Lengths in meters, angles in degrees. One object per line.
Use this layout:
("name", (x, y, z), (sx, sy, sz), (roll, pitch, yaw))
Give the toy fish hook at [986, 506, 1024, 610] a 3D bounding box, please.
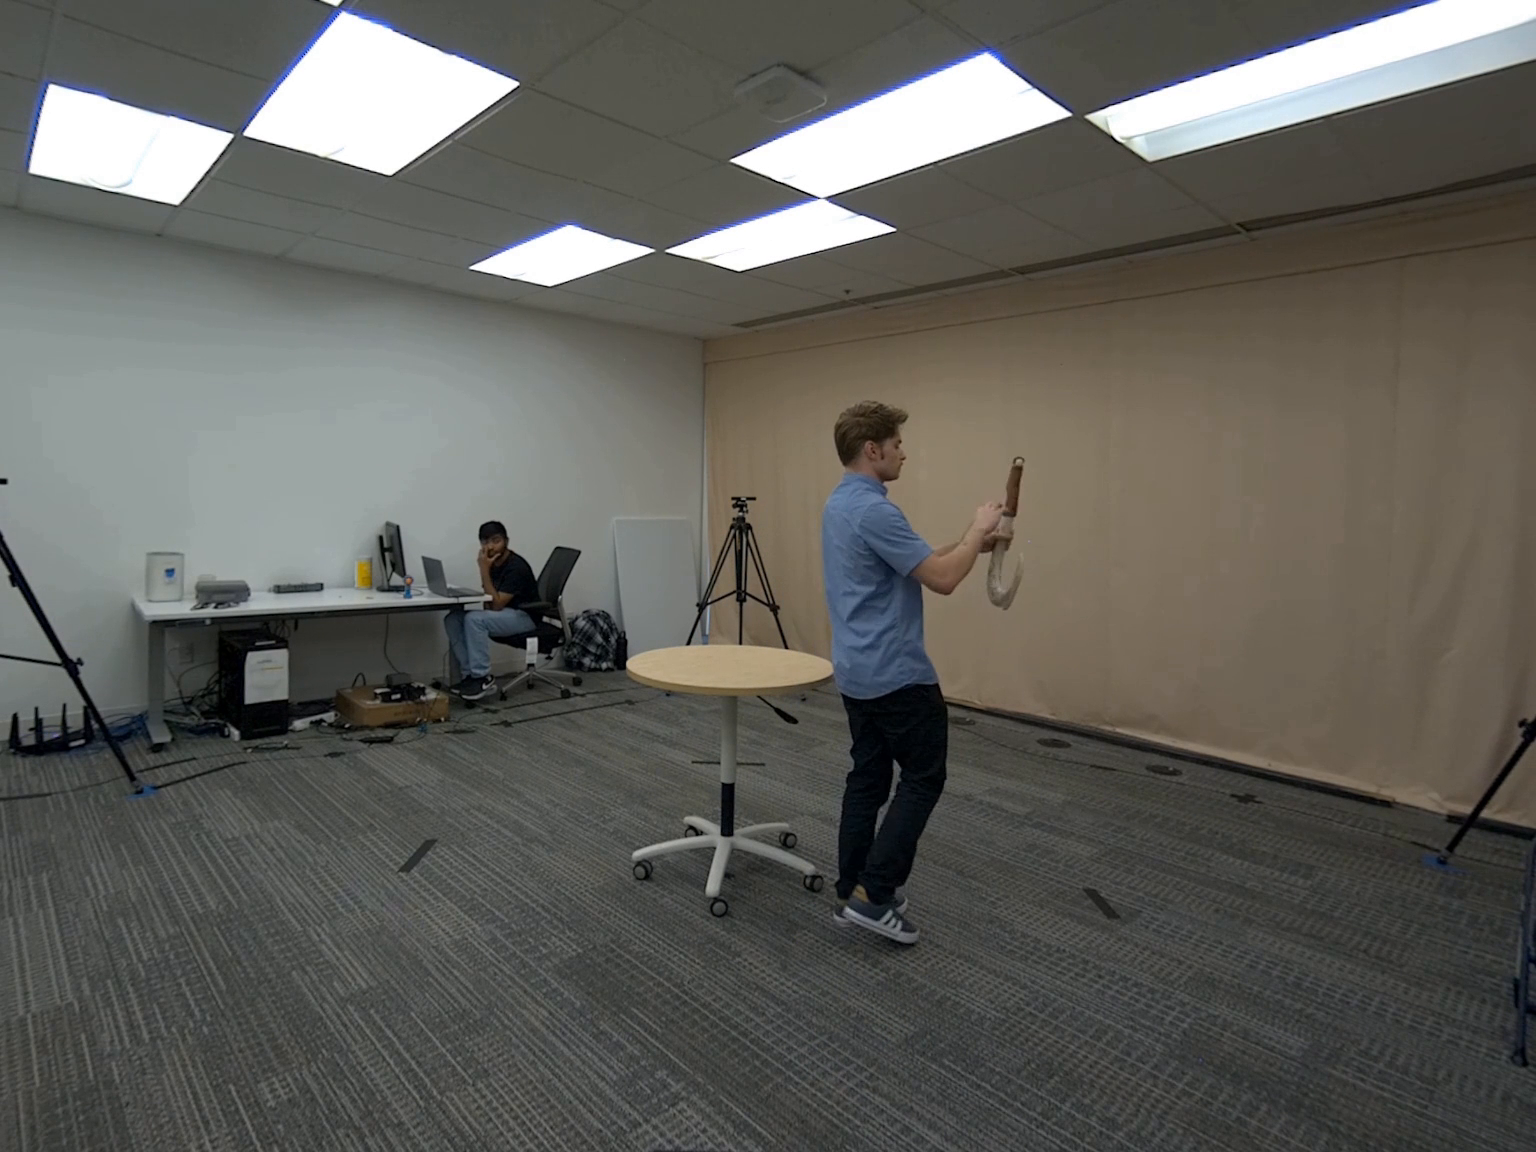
("toy fish hook", (0.811, -0.145, 2.784), (0.048, 0.504, 0.228), (6, 6, -12))
